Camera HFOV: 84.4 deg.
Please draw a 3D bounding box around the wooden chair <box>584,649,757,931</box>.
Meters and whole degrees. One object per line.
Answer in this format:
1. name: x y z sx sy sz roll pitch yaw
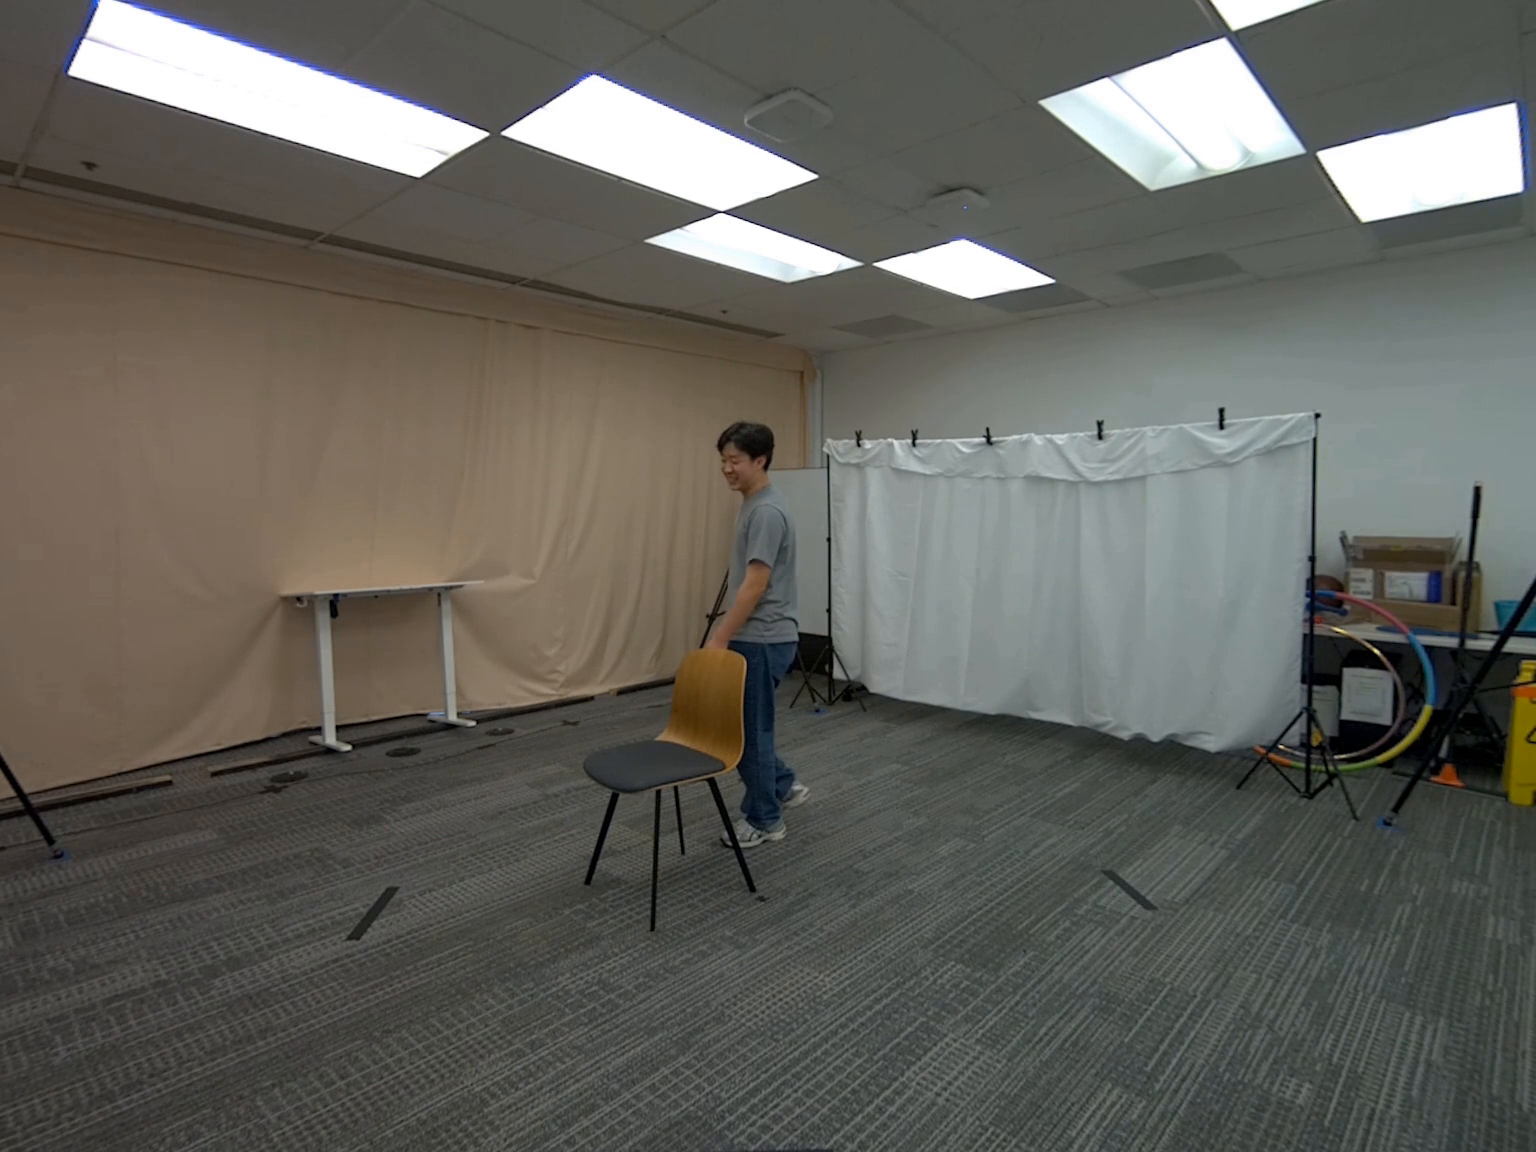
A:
1. wooden chair: -0.368 0.716 3.035 0.506 0.877 0.494 3 1 -40
